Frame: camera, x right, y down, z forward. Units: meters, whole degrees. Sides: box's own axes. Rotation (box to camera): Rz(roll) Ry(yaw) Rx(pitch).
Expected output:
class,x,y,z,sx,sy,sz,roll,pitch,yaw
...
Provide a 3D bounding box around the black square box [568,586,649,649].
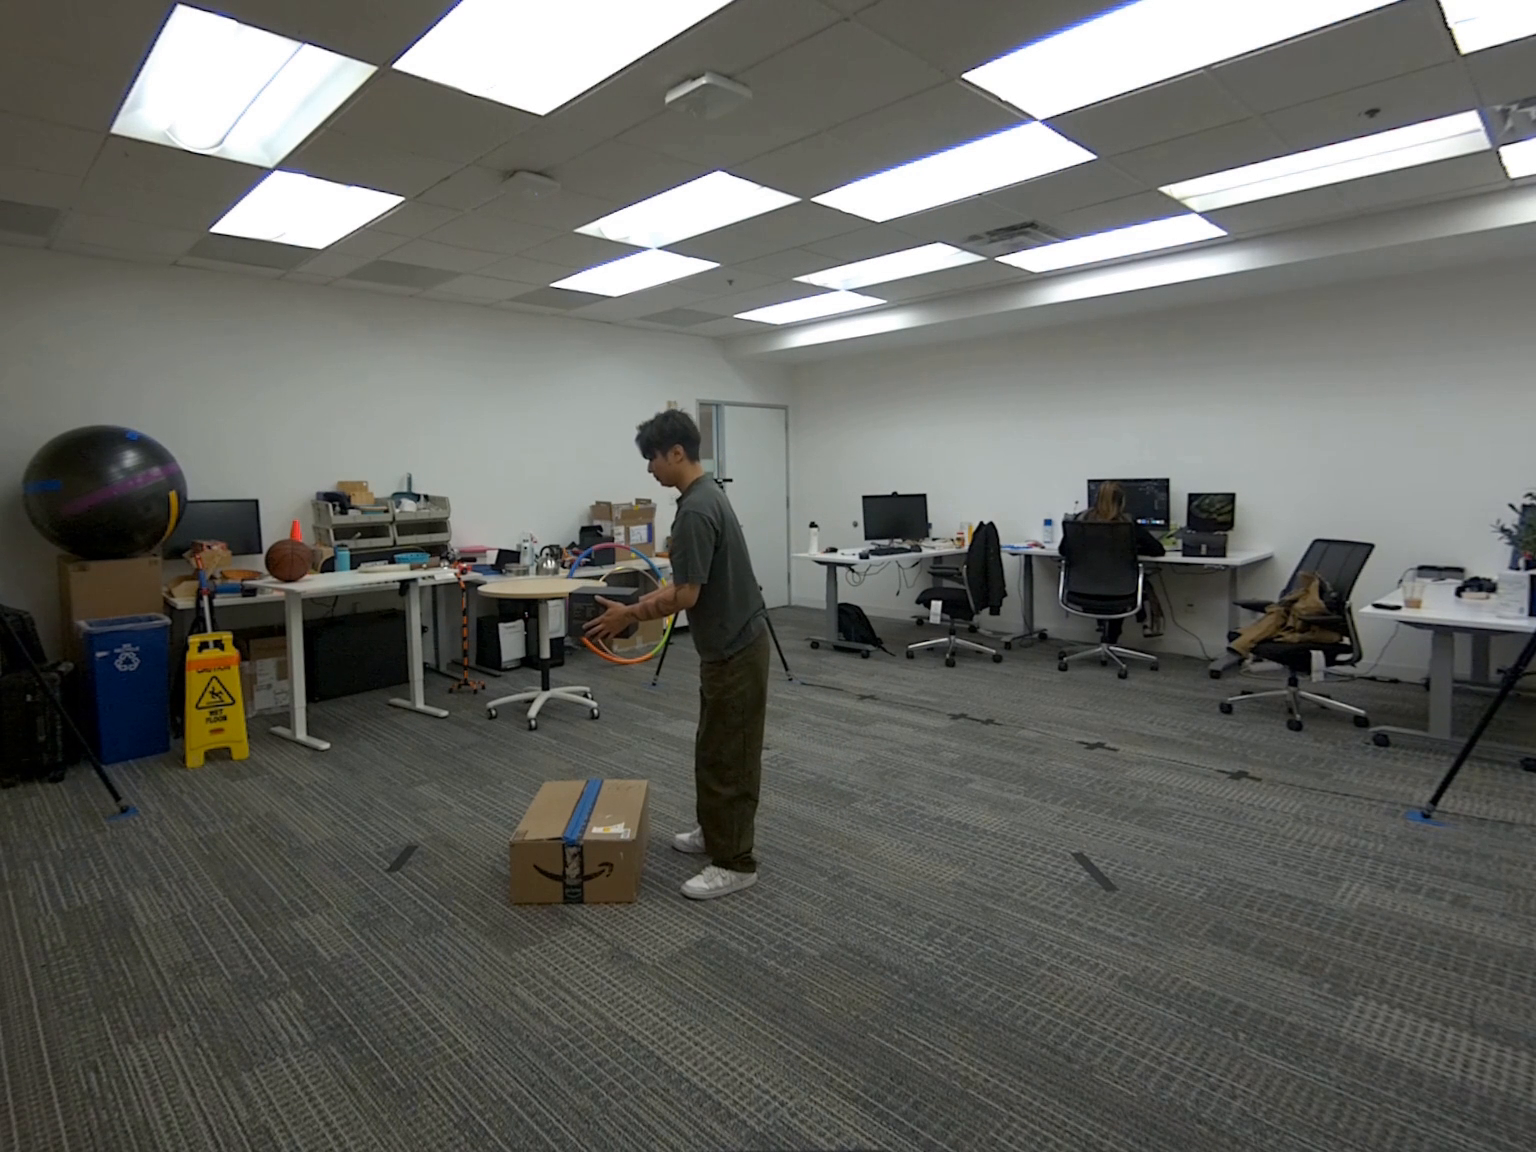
class,x,y,z,sx,sy,sz,roll,pitch,yaw
black square box,-0.585,0.128,3.062,0.218,0.155,0.228,2,6,2
